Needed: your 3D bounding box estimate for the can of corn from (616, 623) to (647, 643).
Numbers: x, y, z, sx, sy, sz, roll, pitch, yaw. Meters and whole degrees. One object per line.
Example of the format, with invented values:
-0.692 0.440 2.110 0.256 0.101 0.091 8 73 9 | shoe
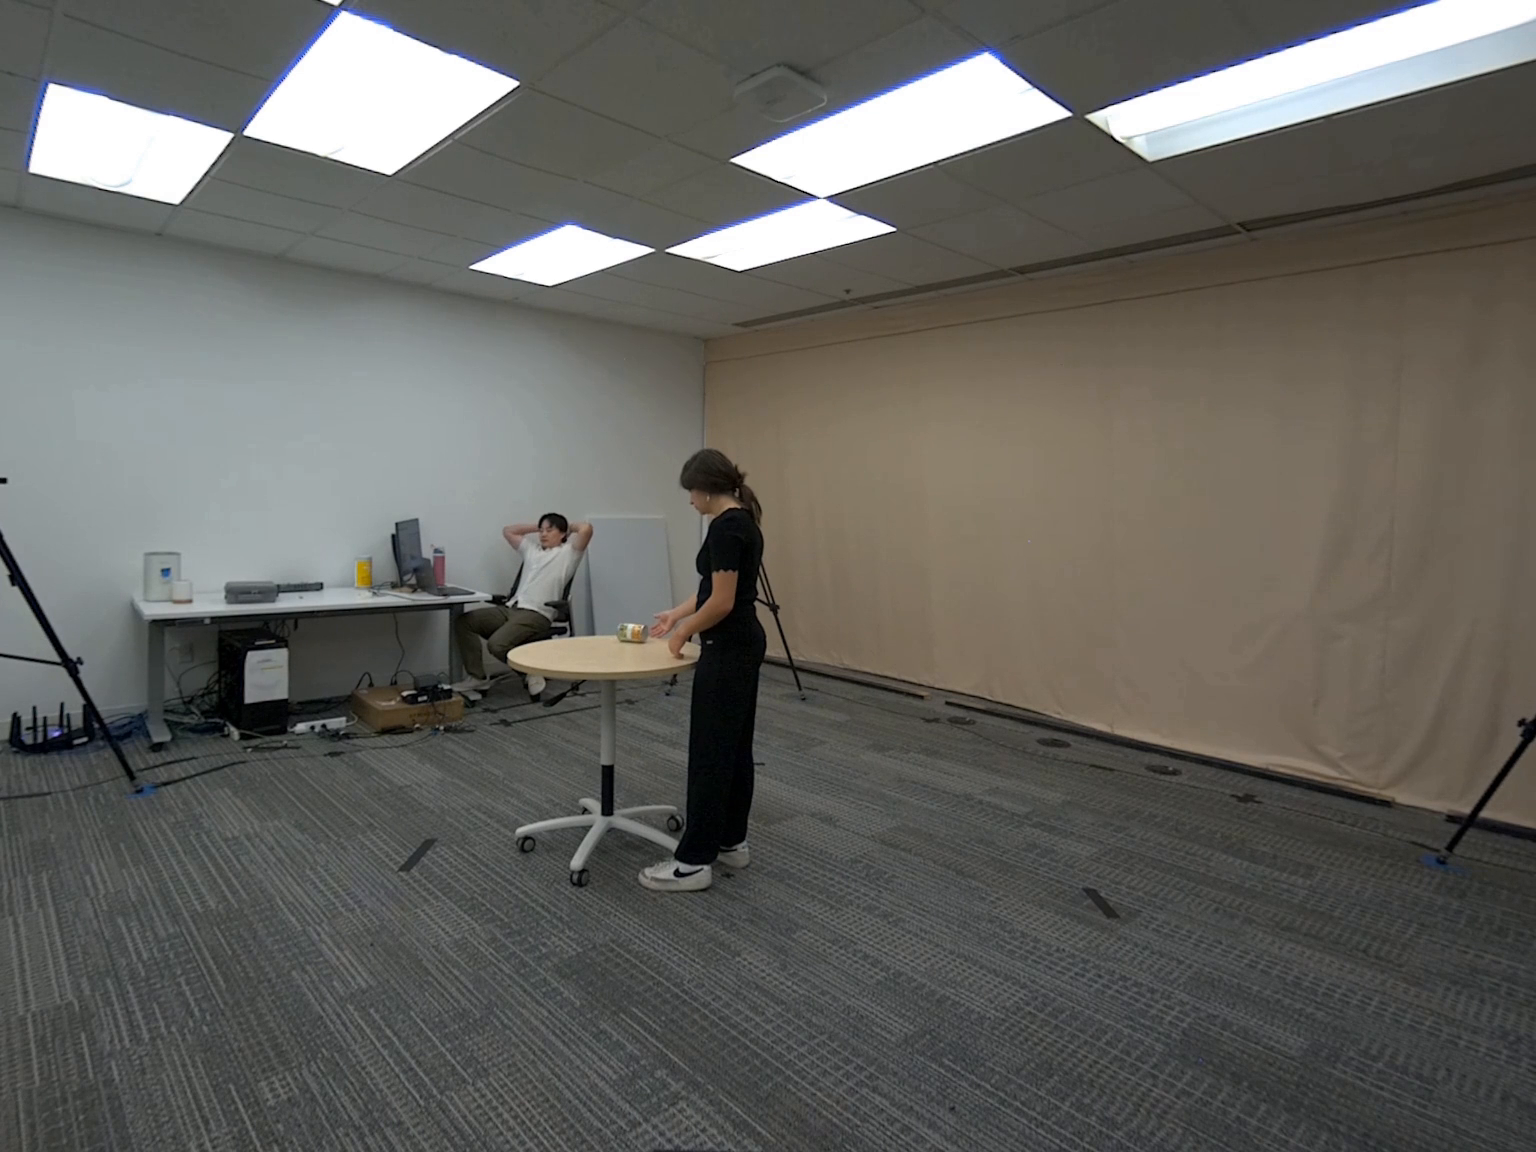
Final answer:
-0.571 0.235 3.504 0.113 0.074 0.073 4 5 19 | can of corn
